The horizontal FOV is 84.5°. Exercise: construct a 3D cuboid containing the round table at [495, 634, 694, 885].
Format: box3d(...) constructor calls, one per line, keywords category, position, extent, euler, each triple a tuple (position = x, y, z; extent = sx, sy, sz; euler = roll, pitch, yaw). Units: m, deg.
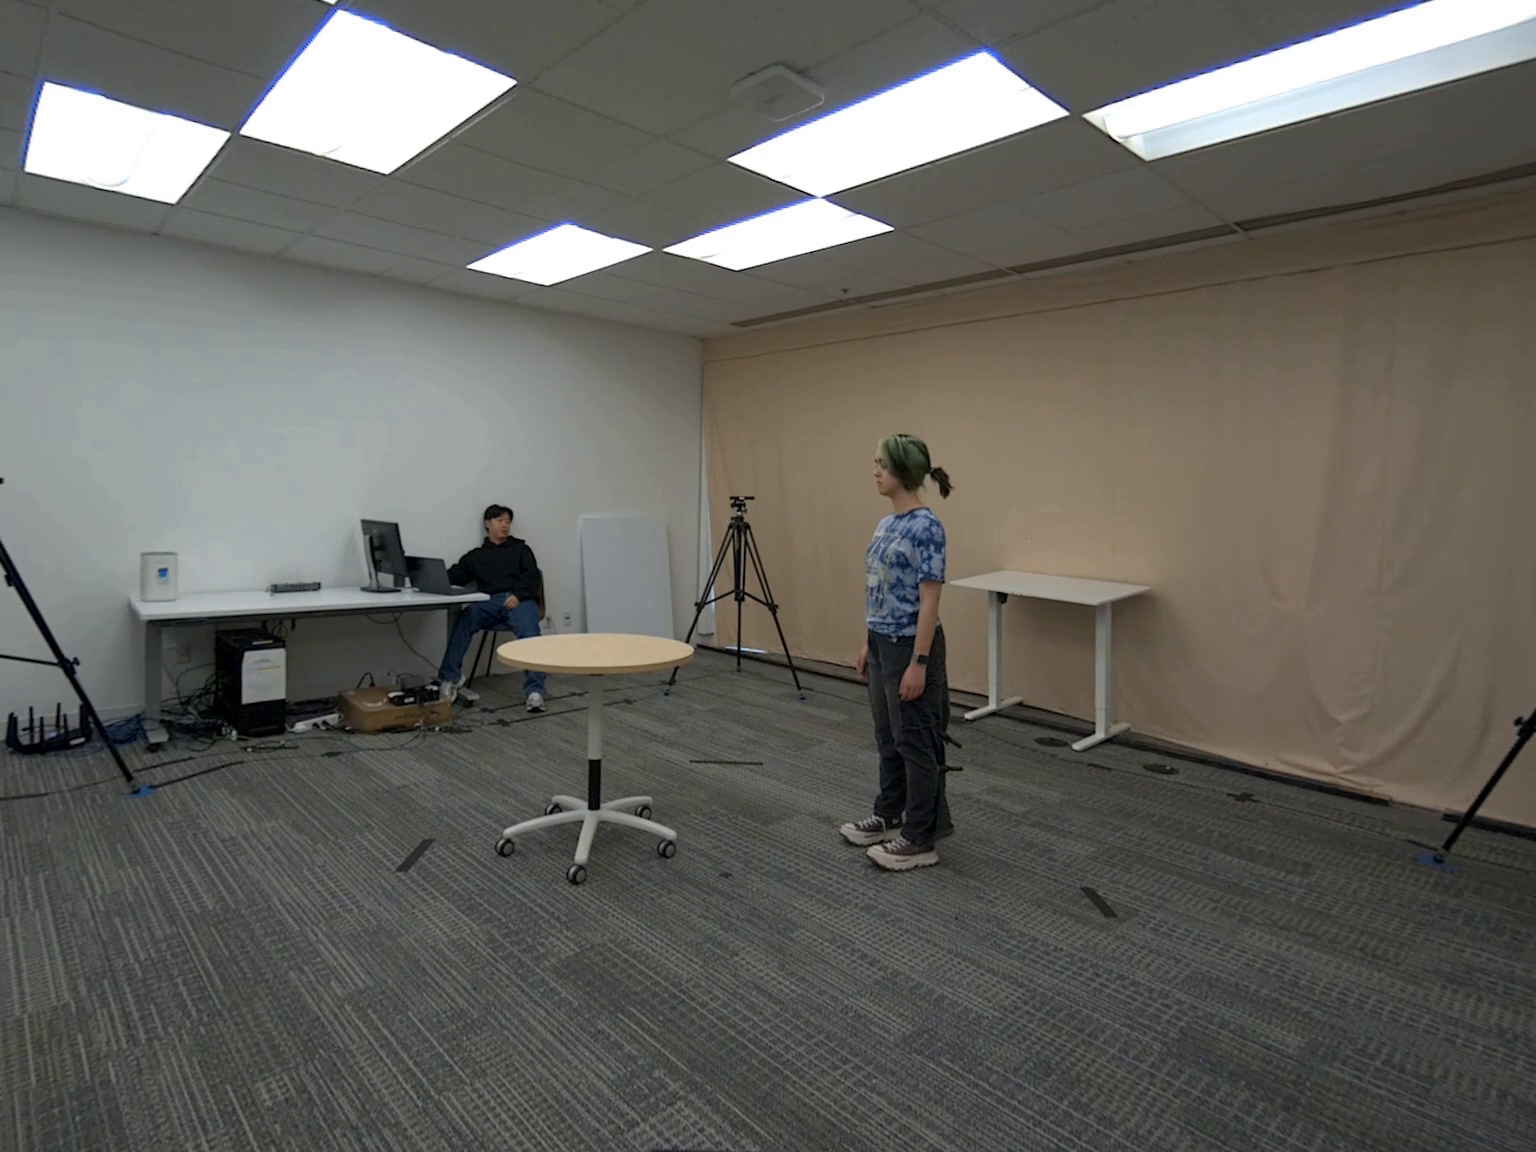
box3d(category="round table", position=(-0.686, 0.678, 3.346), extent=(0.784, 0.784, 0.787), euler=(2, 4, -1))
